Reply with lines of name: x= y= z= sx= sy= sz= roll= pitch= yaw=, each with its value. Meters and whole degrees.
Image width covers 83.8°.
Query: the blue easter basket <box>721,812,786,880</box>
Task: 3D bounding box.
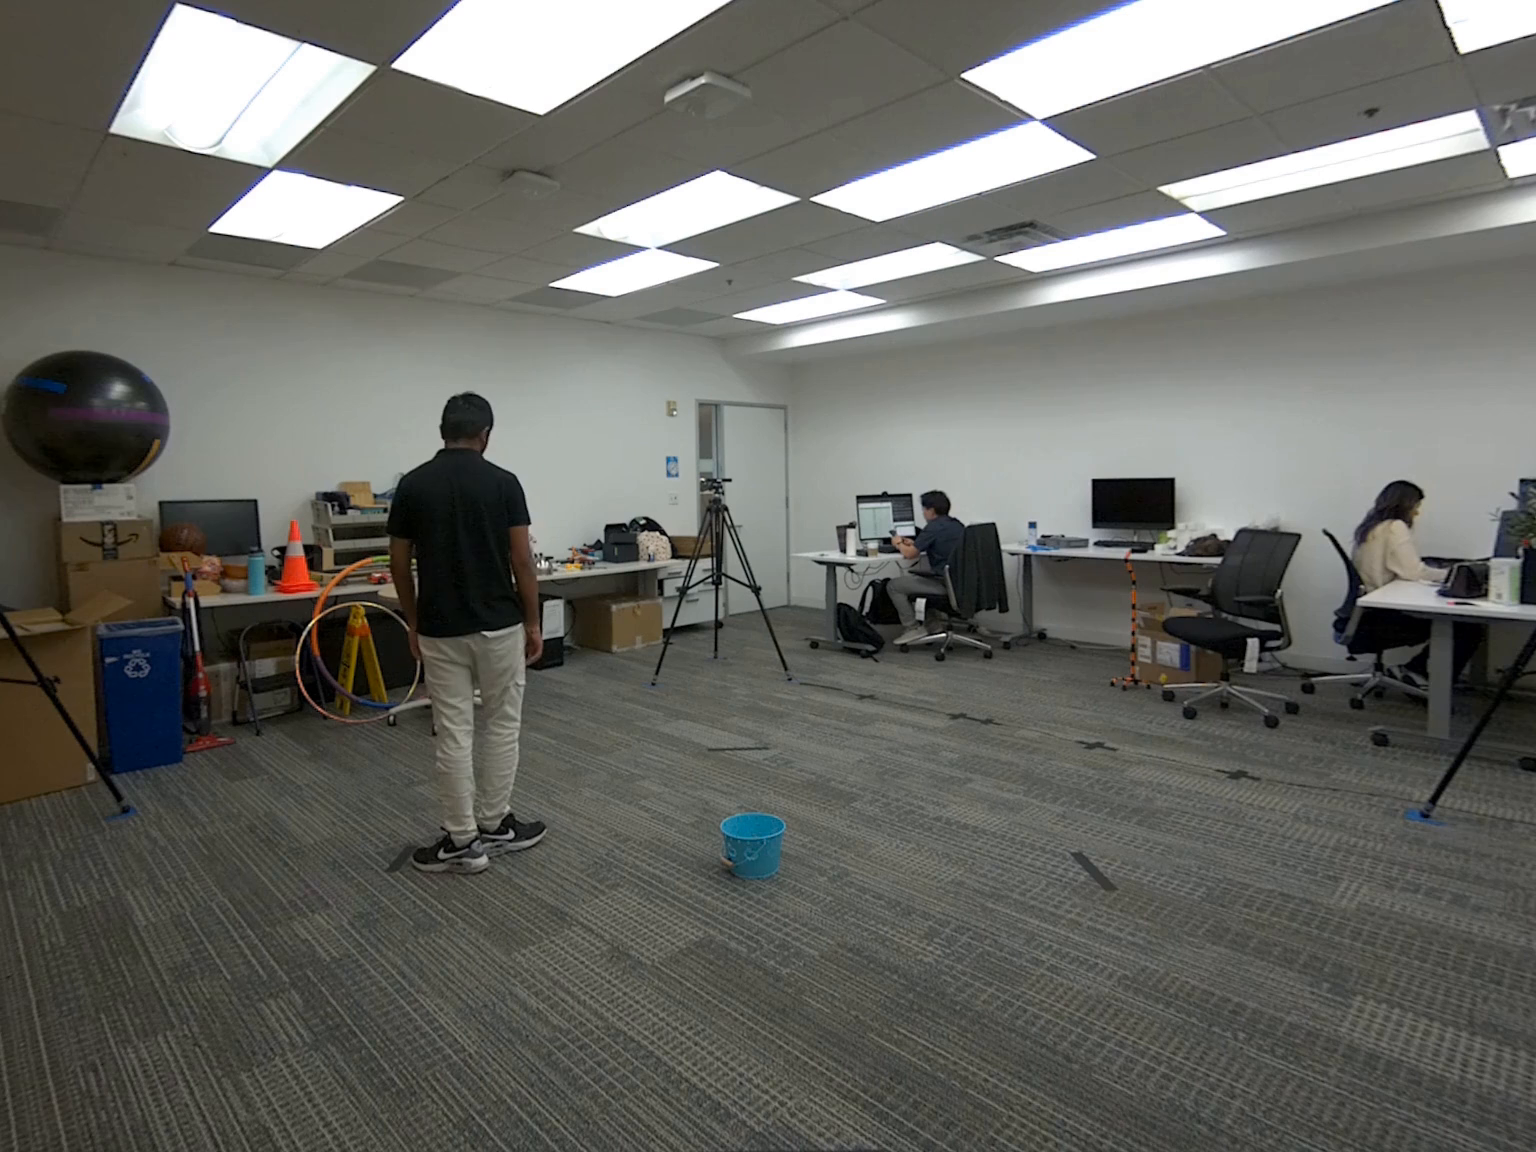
blue easter basket: x=-0.057 y=0.959 z=3.069 sx=0.243 sy=0.155 sz=0.245 roll=-1 pitch=6 yaw=-2
